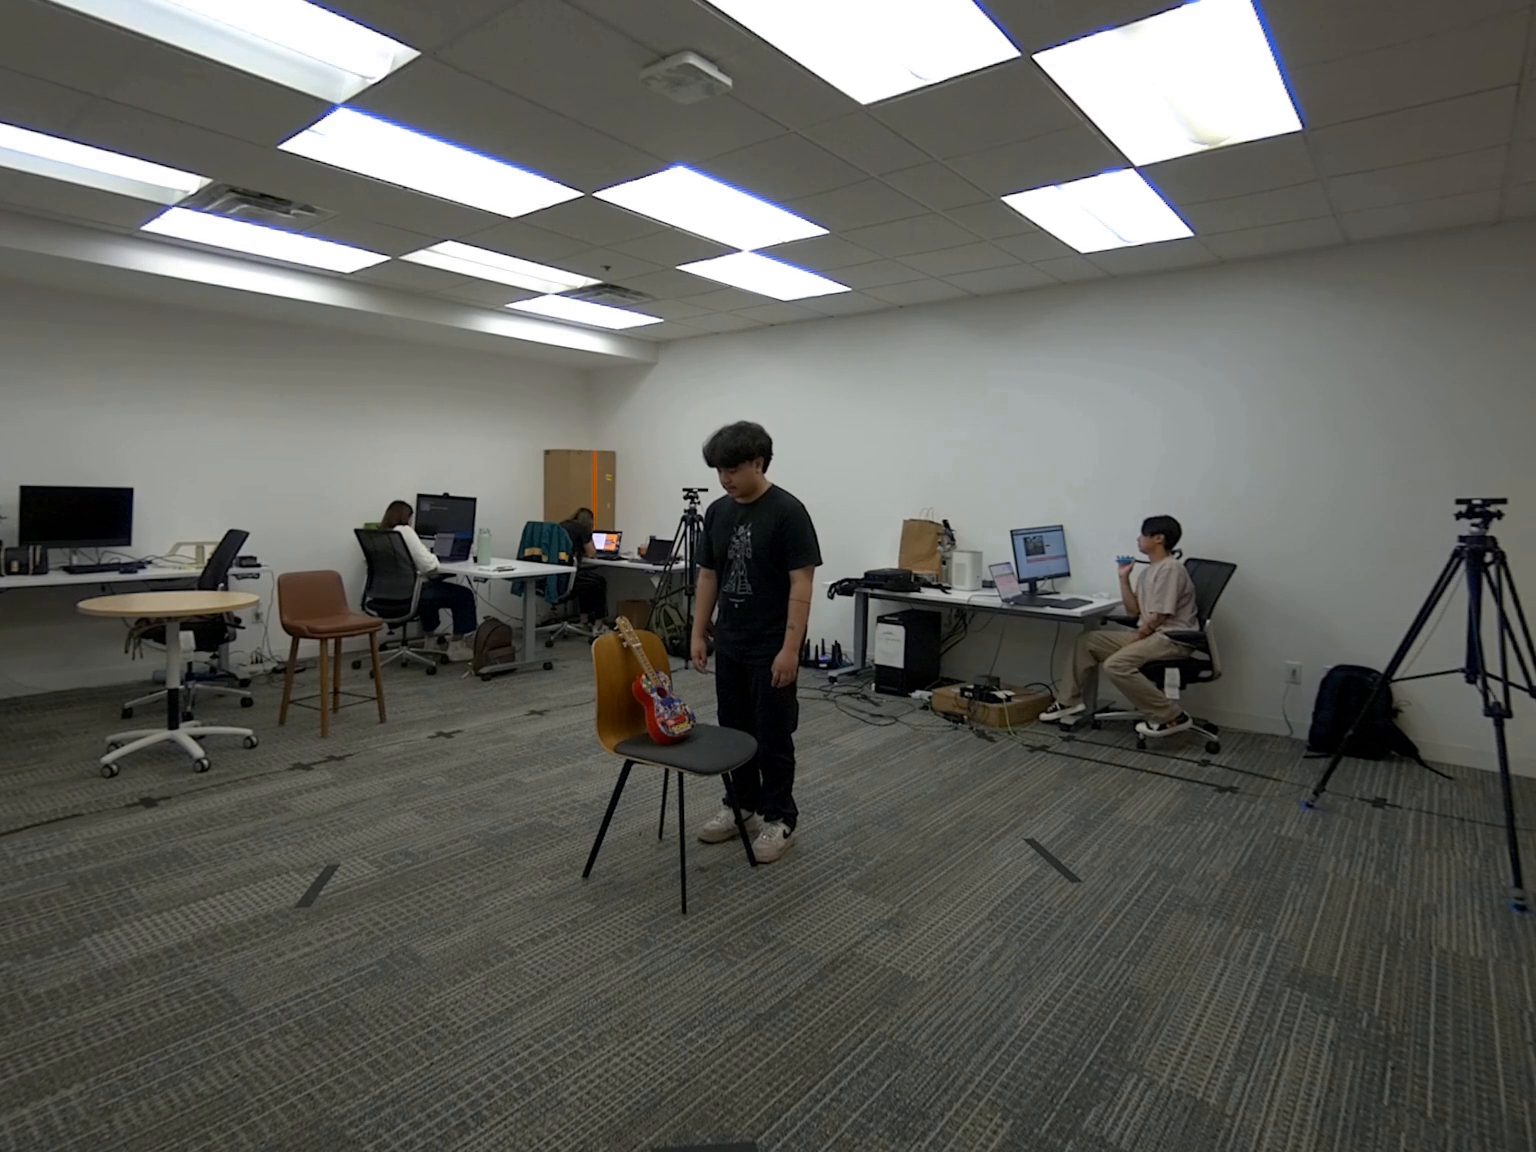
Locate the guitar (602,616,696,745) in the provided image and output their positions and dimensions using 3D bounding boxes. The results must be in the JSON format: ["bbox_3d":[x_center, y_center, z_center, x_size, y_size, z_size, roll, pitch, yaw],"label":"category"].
[{"bbox_3d":[-0.434,0.376,3.153,0.071,0.511,0.187,-41,-23,32],"label":"guitar"}]
